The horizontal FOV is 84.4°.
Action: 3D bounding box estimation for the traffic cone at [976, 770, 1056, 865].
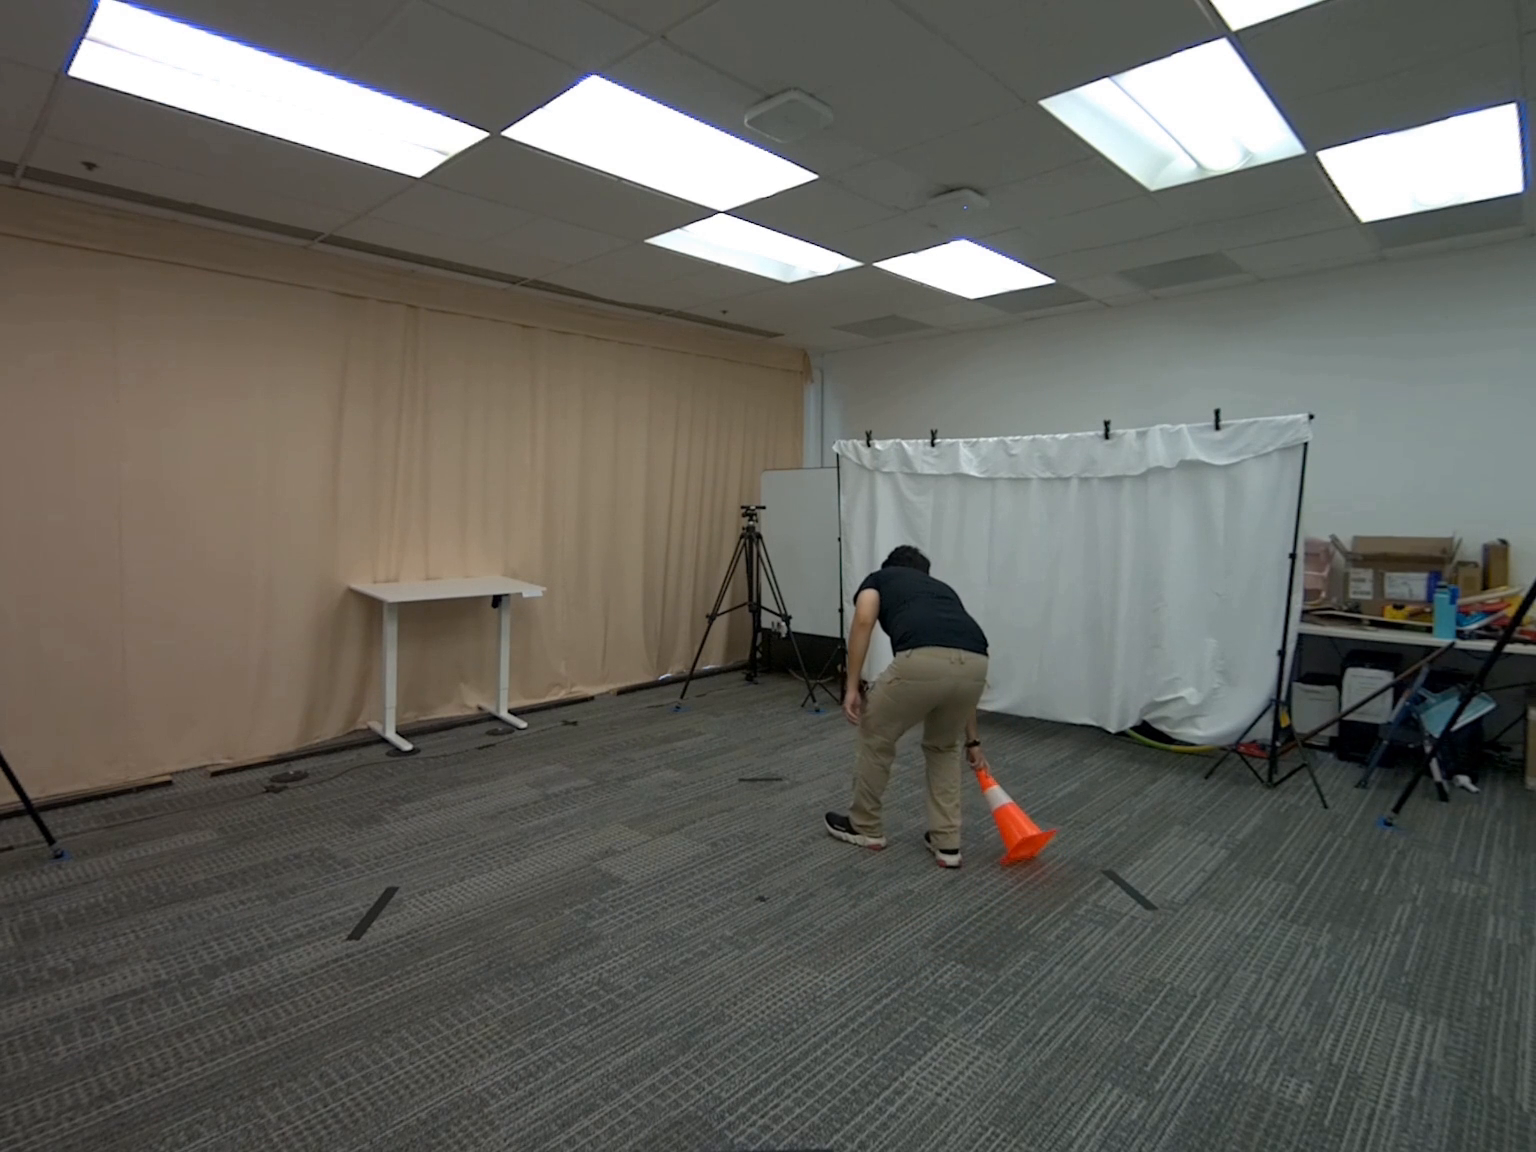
[{"bbox_3d":[0.931,0.912,3.368,0.198,0.204,0.396,-1,43,-29],"label":"traffic cone"}]
